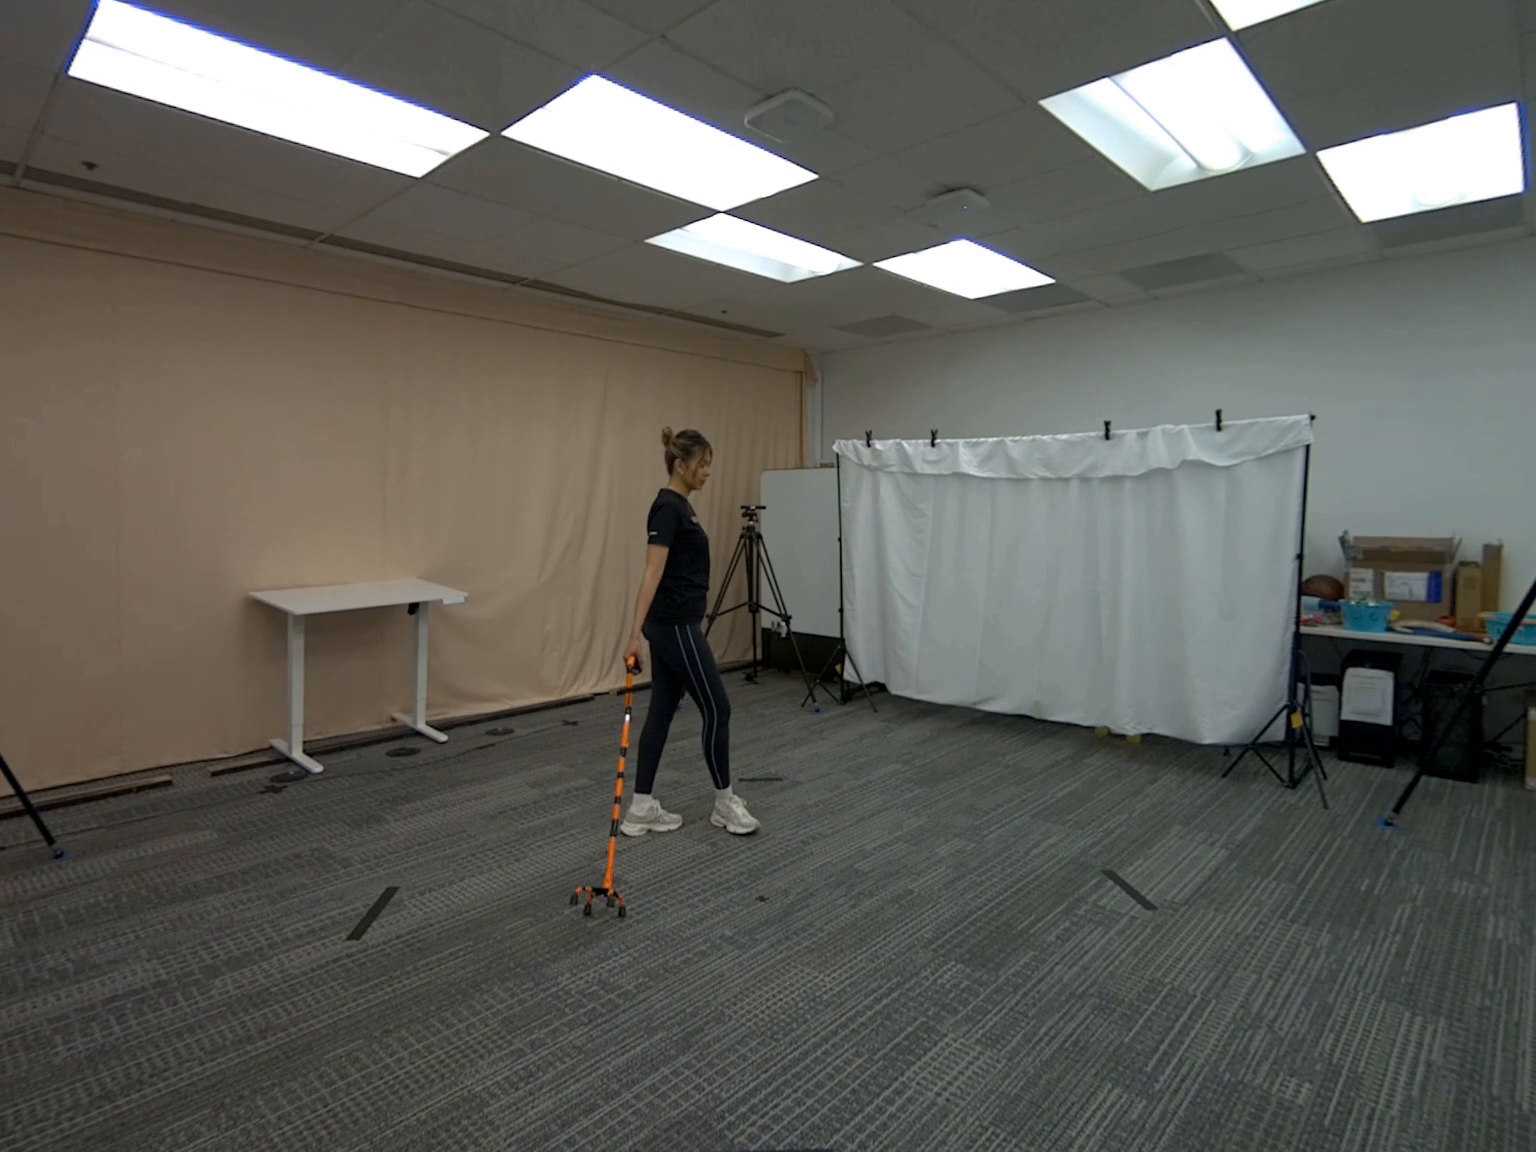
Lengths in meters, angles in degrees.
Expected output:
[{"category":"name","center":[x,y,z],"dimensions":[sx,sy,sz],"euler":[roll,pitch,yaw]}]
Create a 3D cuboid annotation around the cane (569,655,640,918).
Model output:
[{"category":"cane","center":[-0.538,0.717,3.021],"dimensions":[0.152,0.922,0.202],"euler":[-1,-32,5]}]
